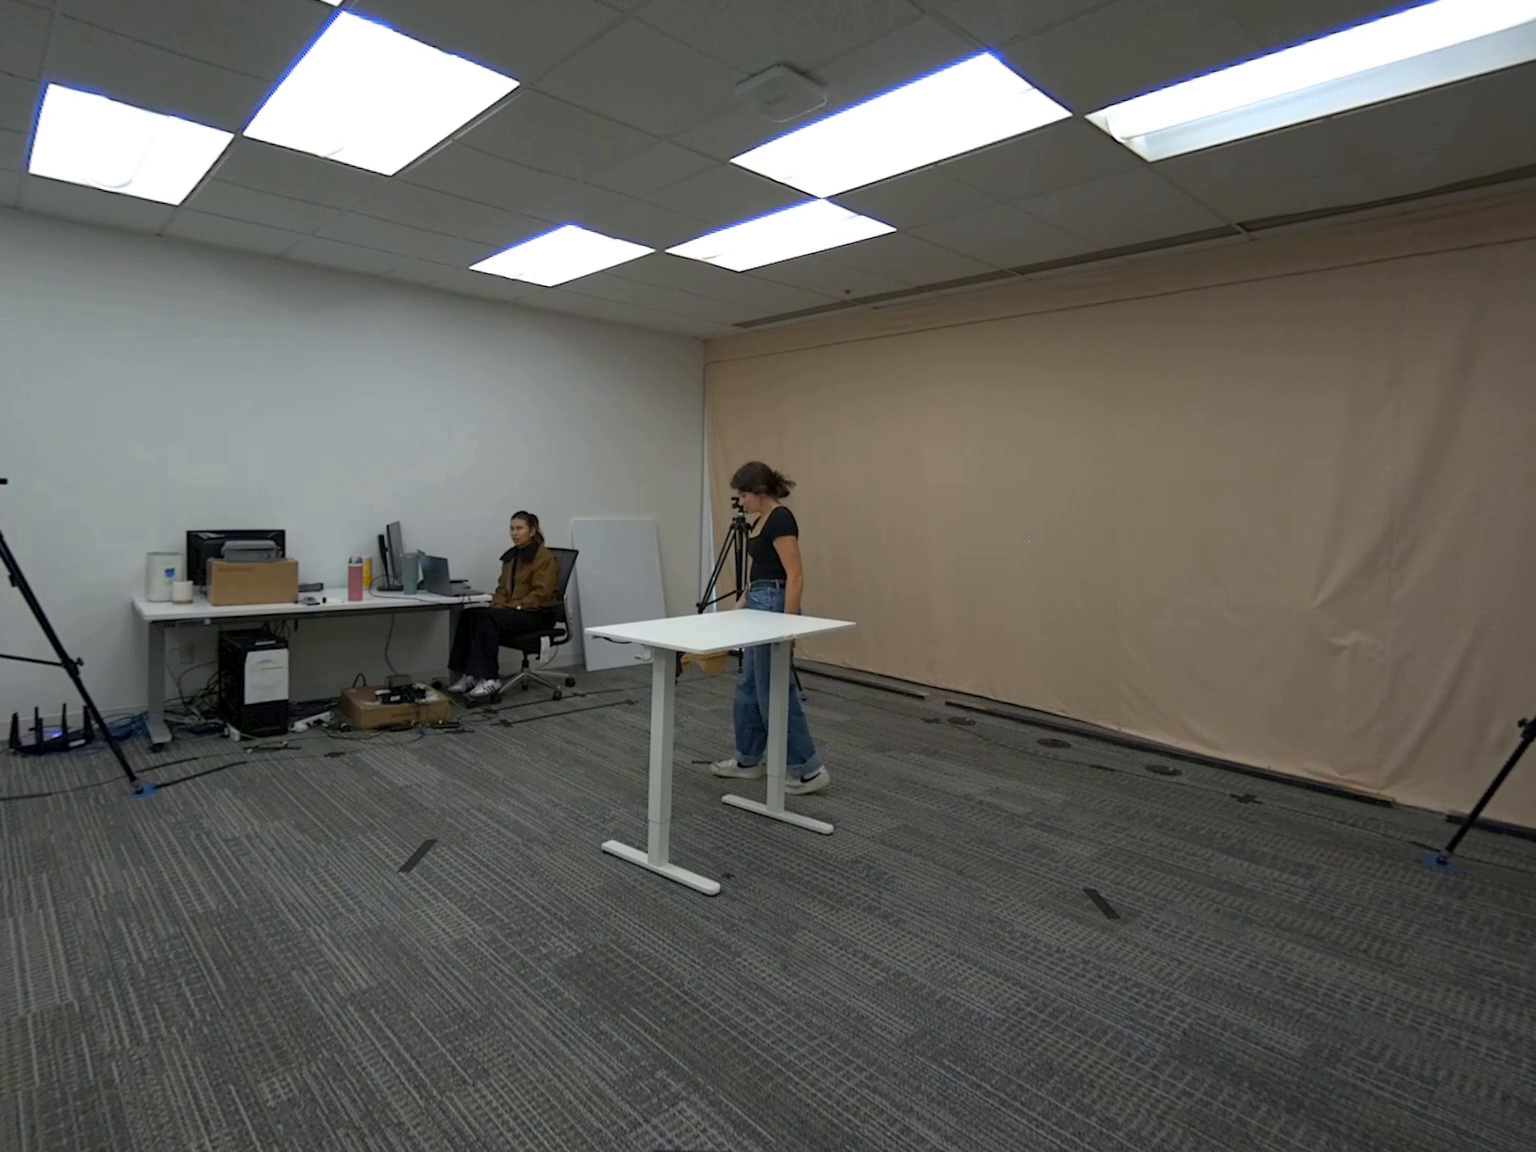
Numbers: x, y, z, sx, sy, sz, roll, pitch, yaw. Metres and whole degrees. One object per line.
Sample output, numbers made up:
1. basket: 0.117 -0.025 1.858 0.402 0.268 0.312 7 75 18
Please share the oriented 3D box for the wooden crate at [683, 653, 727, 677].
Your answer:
1. wooden crate: -0.365 0.342 4.291 0.269 0.302 0.329 20 2 -15
